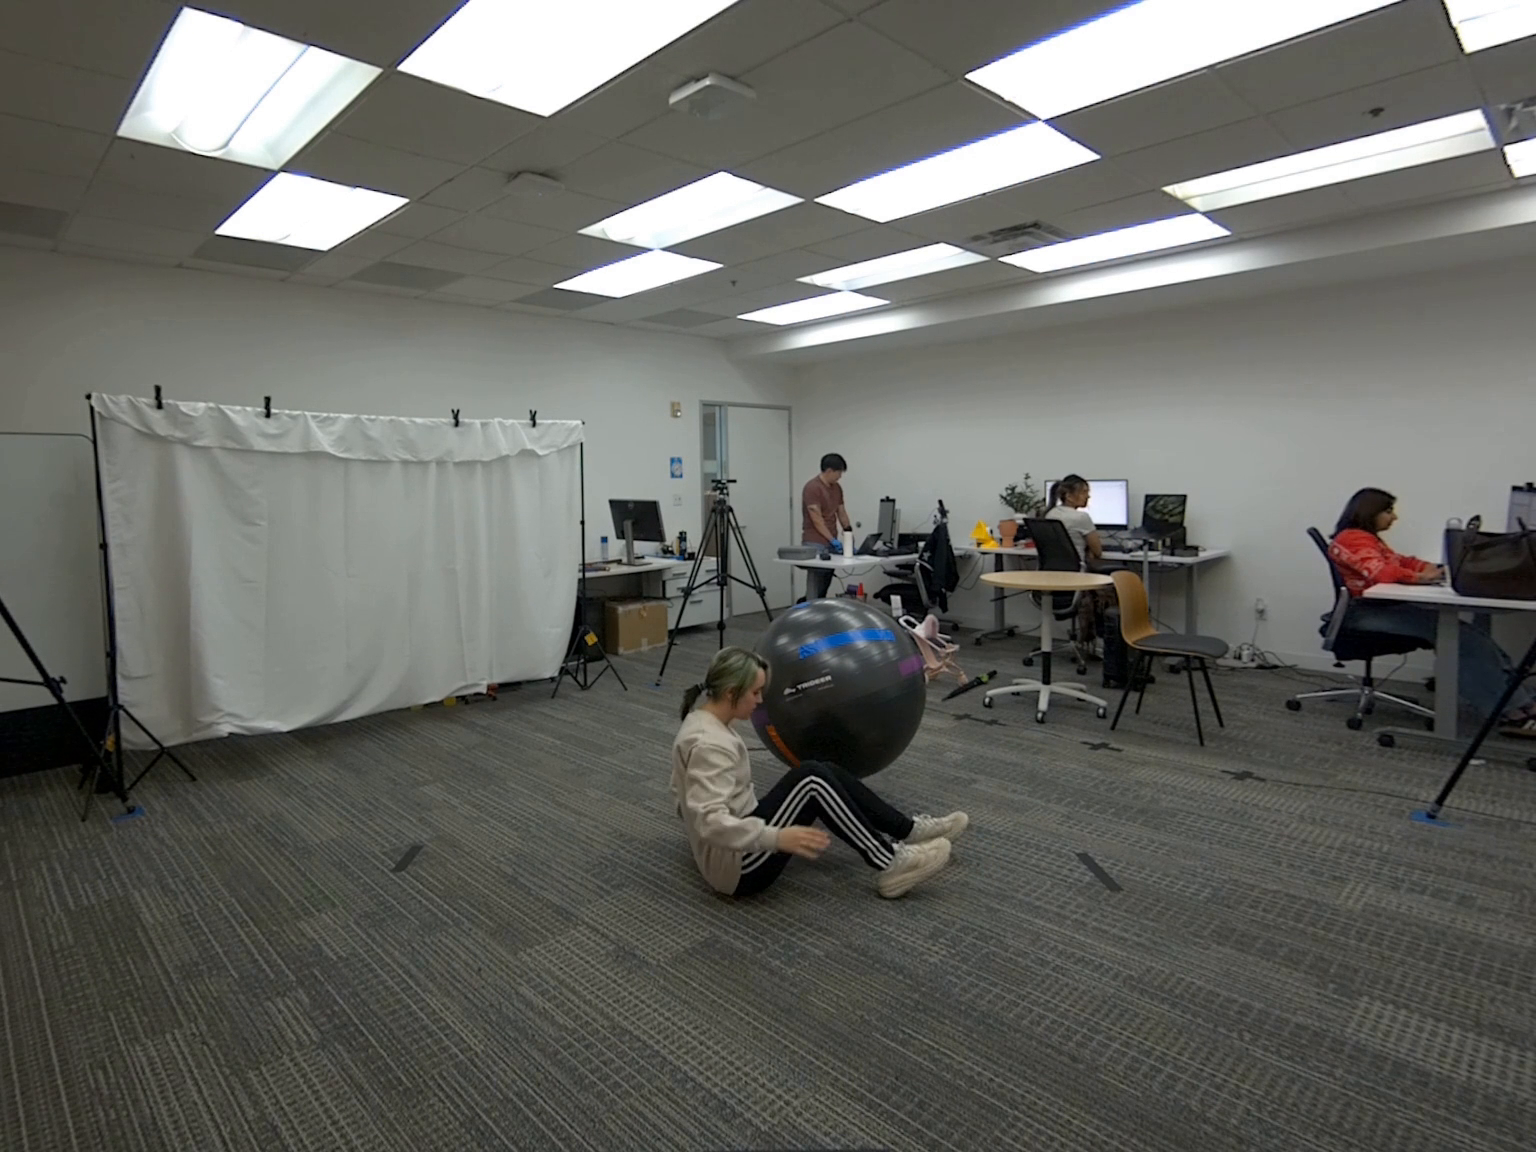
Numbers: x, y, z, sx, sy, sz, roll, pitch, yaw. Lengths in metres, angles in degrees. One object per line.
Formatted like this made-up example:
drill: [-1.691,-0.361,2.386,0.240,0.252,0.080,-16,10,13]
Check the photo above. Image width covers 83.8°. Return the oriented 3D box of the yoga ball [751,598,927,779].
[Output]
yoga ball: [0.283,0.474,3.612,0.757,0.755,0.762,-1,5,-2]
